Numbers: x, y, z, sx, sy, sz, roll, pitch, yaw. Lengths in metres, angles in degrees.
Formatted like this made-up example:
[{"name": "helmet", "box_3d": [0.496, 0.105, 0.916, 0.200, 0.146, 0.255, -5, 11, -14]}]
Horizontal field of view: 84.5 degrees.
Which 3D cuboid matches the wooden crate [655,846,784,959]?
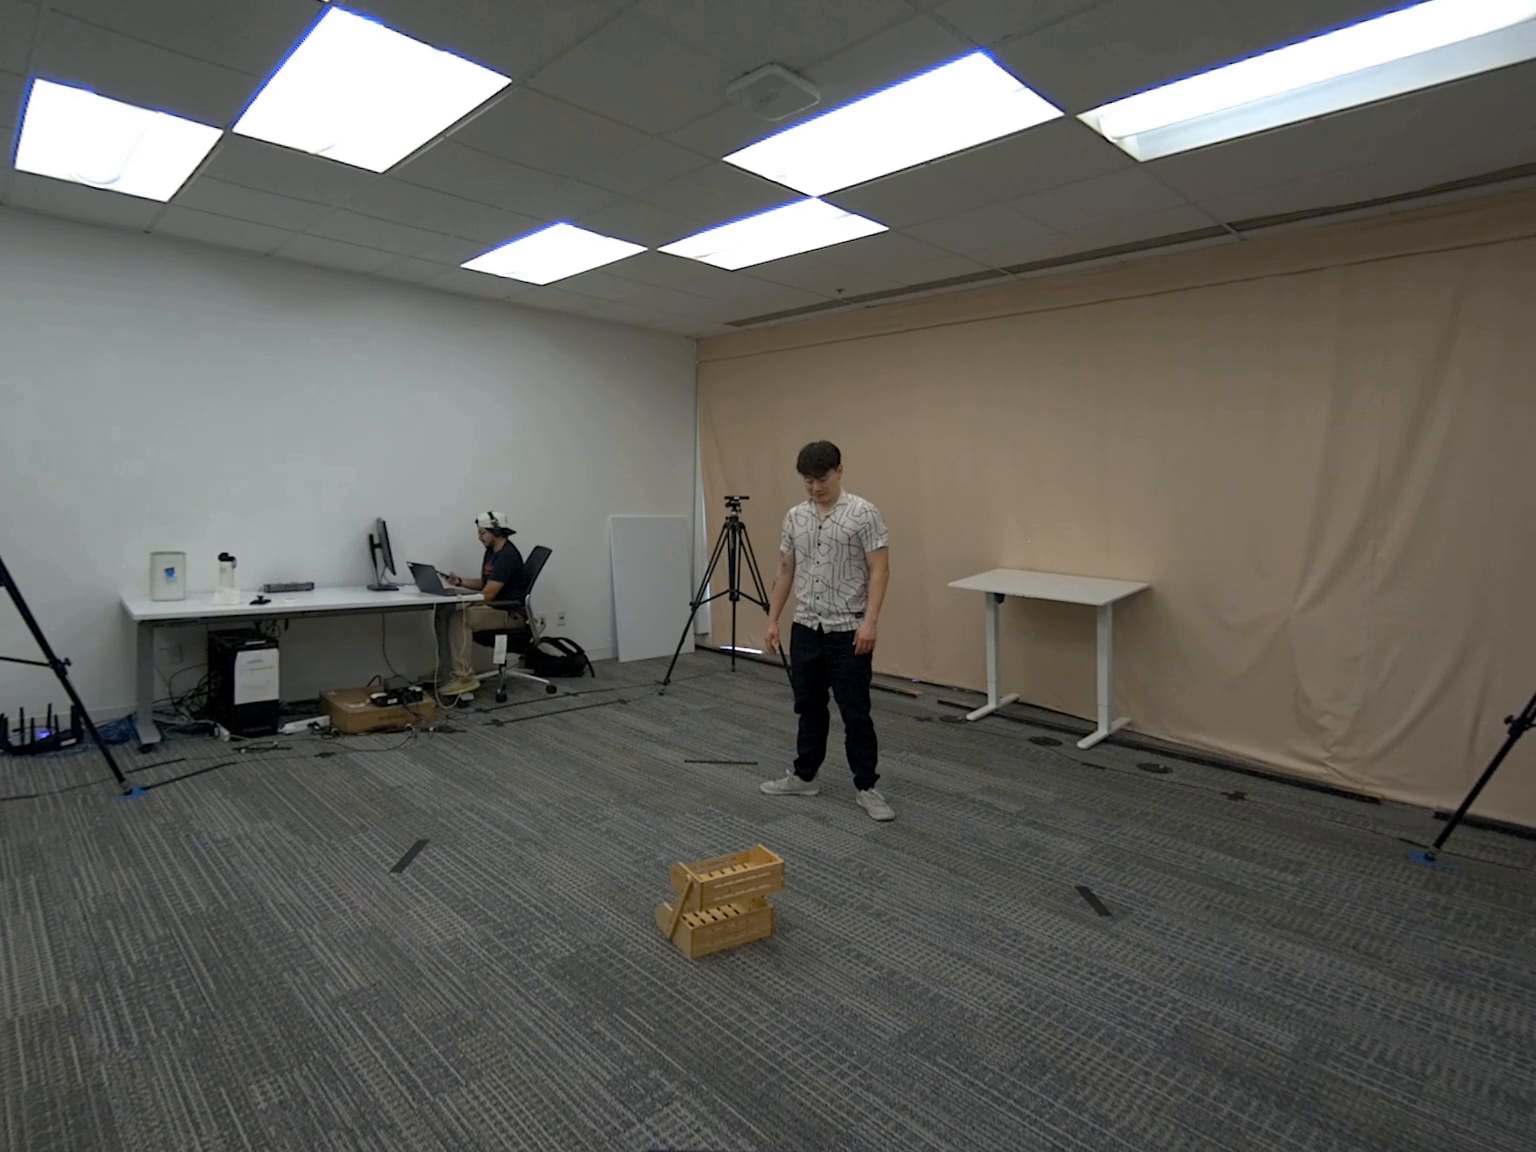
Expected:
[{"name": "wooden crate", "box_3d": [-0.164, 1.005, 2.681, 0.317, 0.272, 0.309, -1, 5, -33]}]
